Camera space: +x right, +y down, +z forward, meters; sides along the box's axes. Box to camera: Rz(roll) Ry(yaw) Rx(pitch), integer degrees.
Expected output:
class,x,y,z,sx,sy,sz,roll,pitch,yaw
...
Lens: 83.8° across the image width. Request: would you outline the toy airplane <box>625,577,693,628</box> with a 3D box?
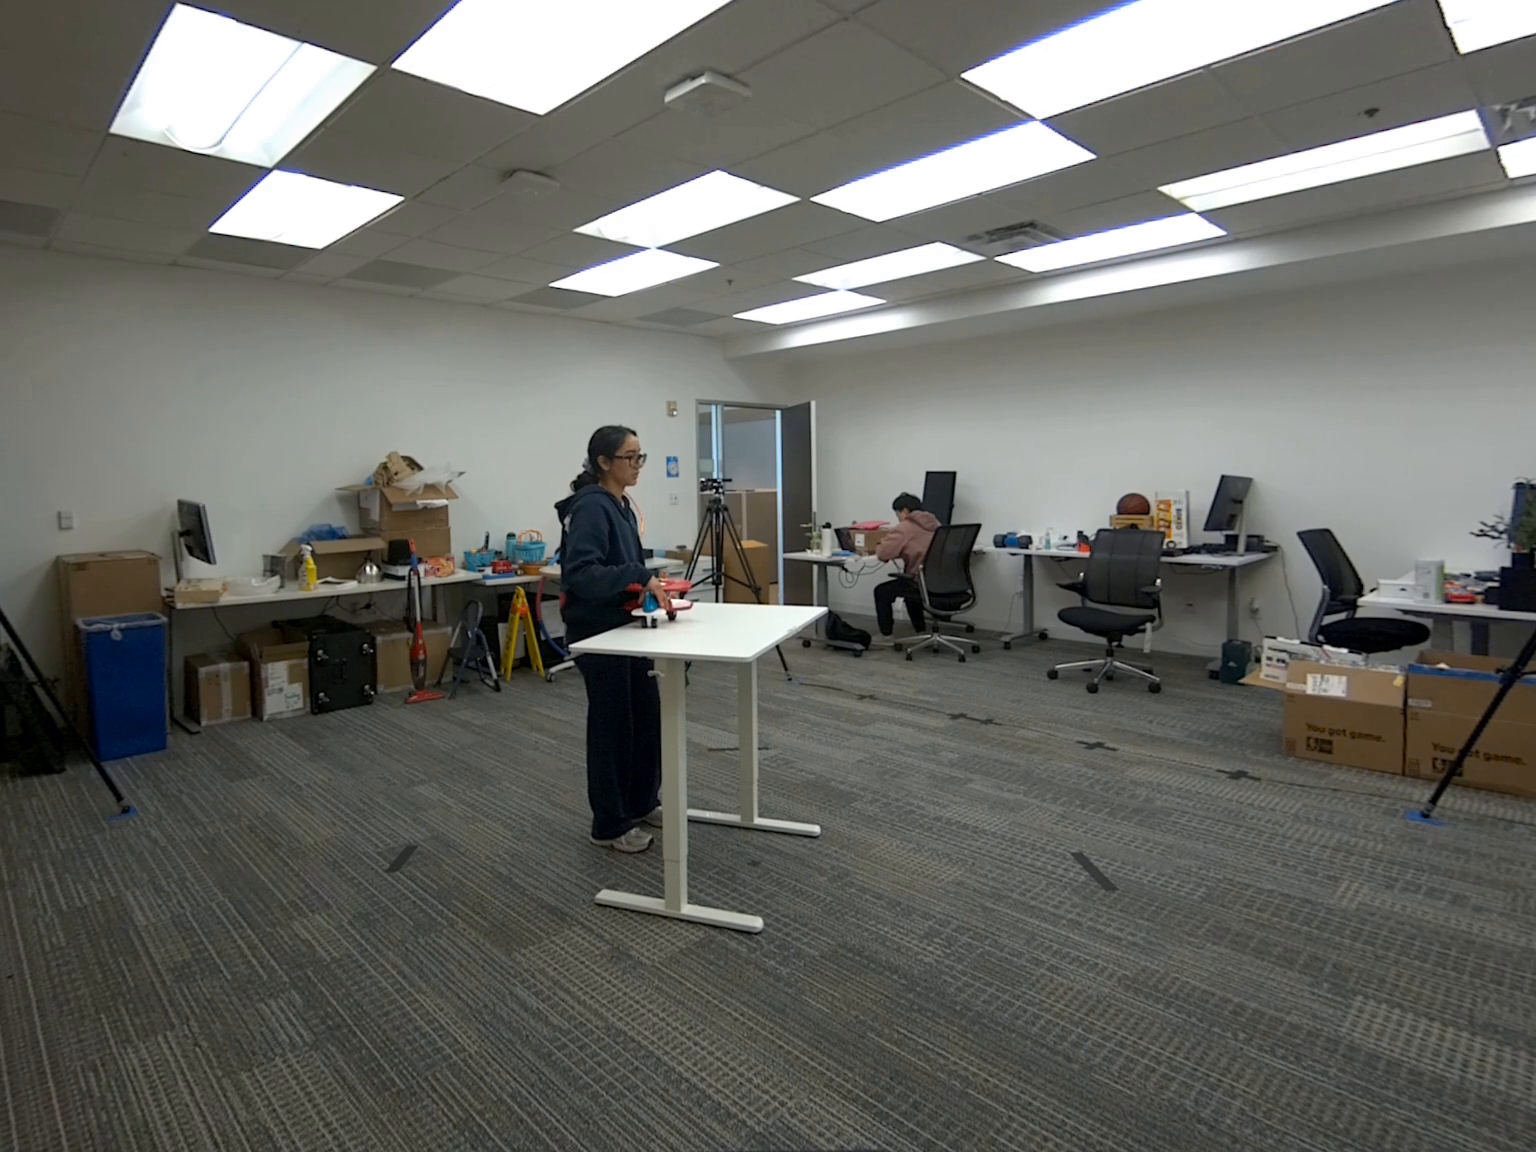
class,x,y,z,sx,sy,sz,roll,pitch,yaw
toy airplane,-0.382,0.099,3.059,0.246,0.156,0.265,-3,6,-21
